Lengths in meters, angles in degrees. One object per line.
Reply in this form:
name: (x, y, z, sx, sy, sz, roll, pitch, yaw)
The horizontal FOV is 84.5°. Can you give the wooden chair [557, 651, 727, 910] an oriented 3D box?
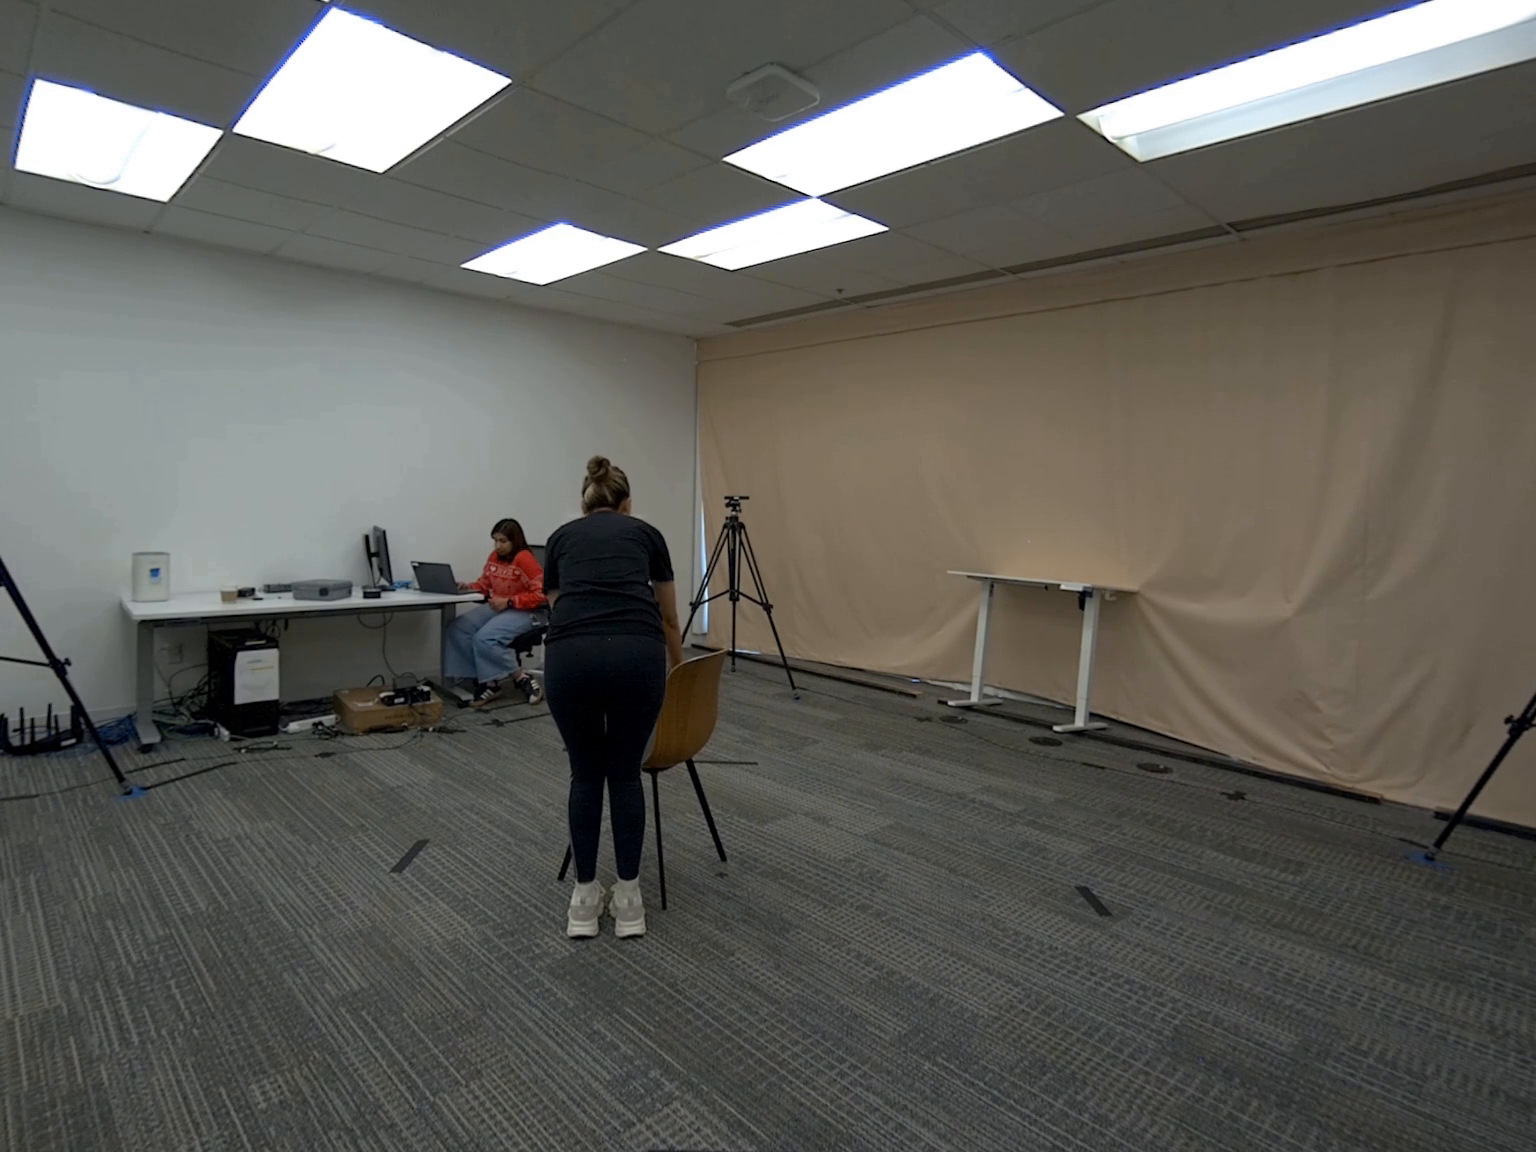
wooden chair: (-0.457, 0.669, 3.096, 0.534, 0.874, 0.470, 8, 7, 26)
